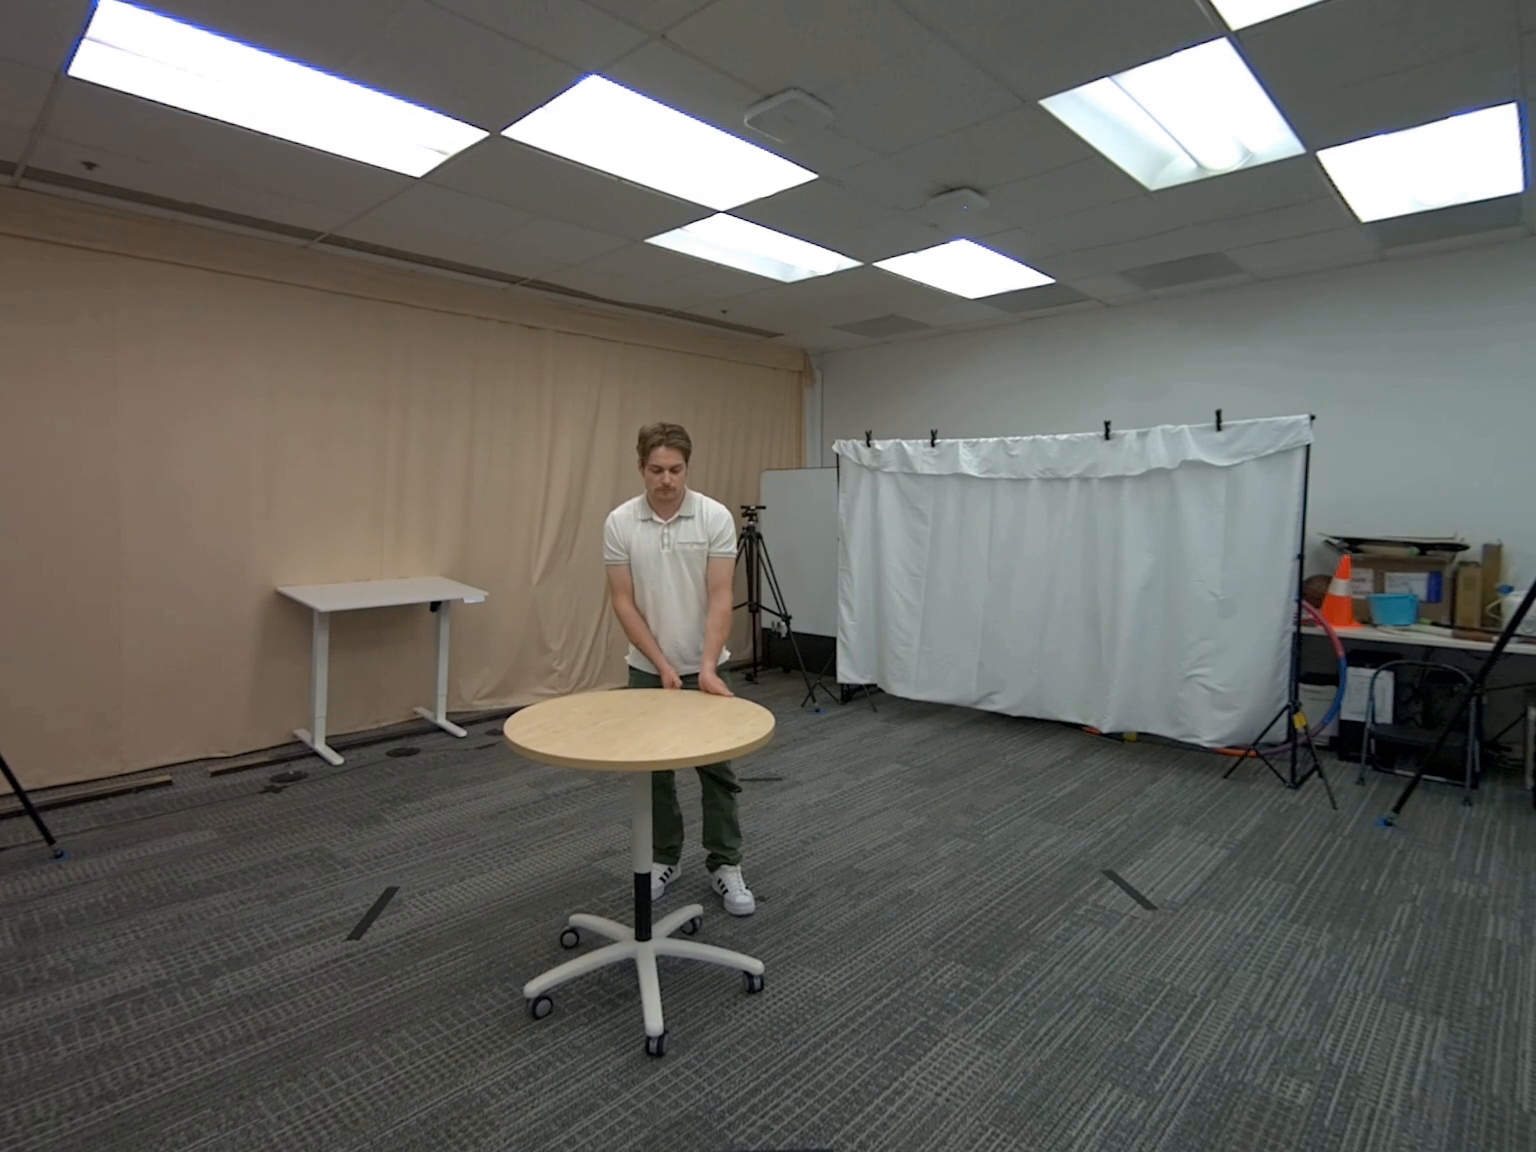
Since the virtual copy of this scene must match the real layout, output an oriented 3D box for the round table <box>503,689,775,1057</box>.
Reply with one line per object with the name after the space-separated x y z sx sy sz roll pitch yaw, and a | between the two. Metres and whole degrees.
-0.356 0.803 2.433 0.763 0.792 0.767 0 4 -2 | round table
